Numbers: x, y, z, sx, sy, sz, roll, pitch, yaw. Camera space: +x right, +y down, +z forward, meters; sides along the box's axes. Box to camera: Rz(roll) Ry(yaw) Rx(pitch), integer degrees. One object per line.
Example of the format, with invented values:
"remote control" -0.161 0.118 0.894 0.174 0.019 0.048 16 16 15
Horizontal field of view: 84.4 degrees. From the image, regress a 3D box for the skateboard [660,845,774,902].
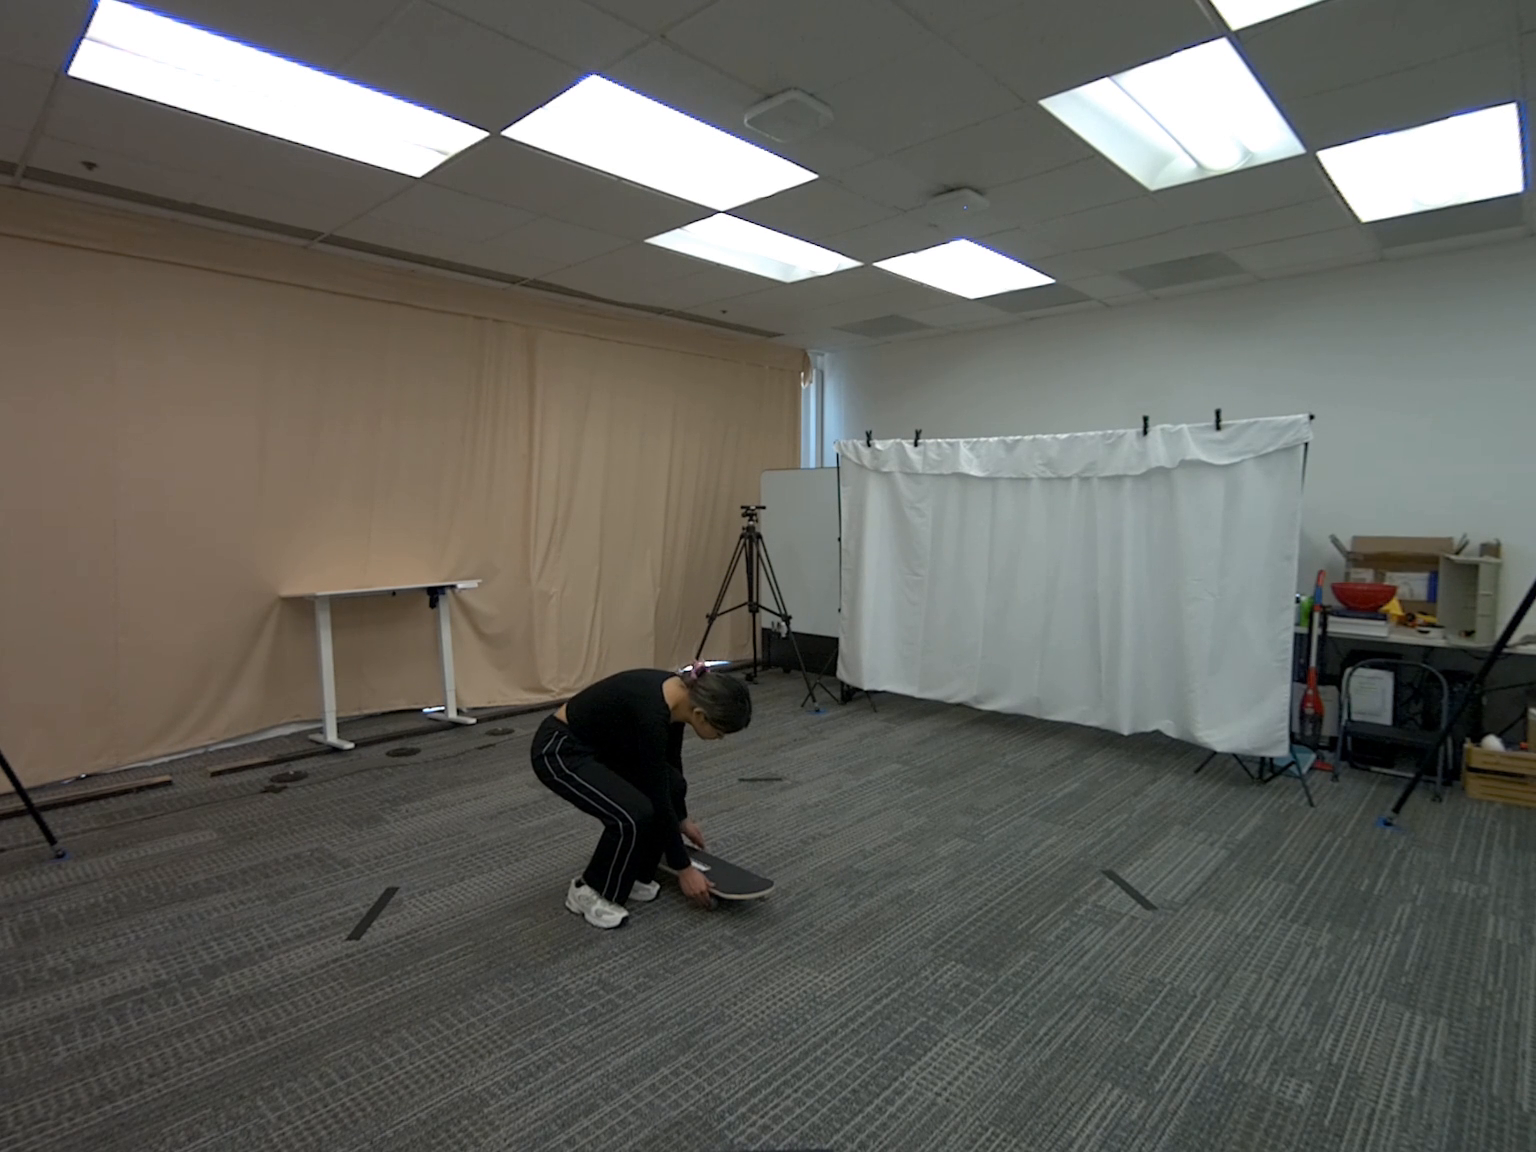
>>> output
"skateboard" -0.289 1.076 3.095 0.812 0.110 0.187 5 6 43
